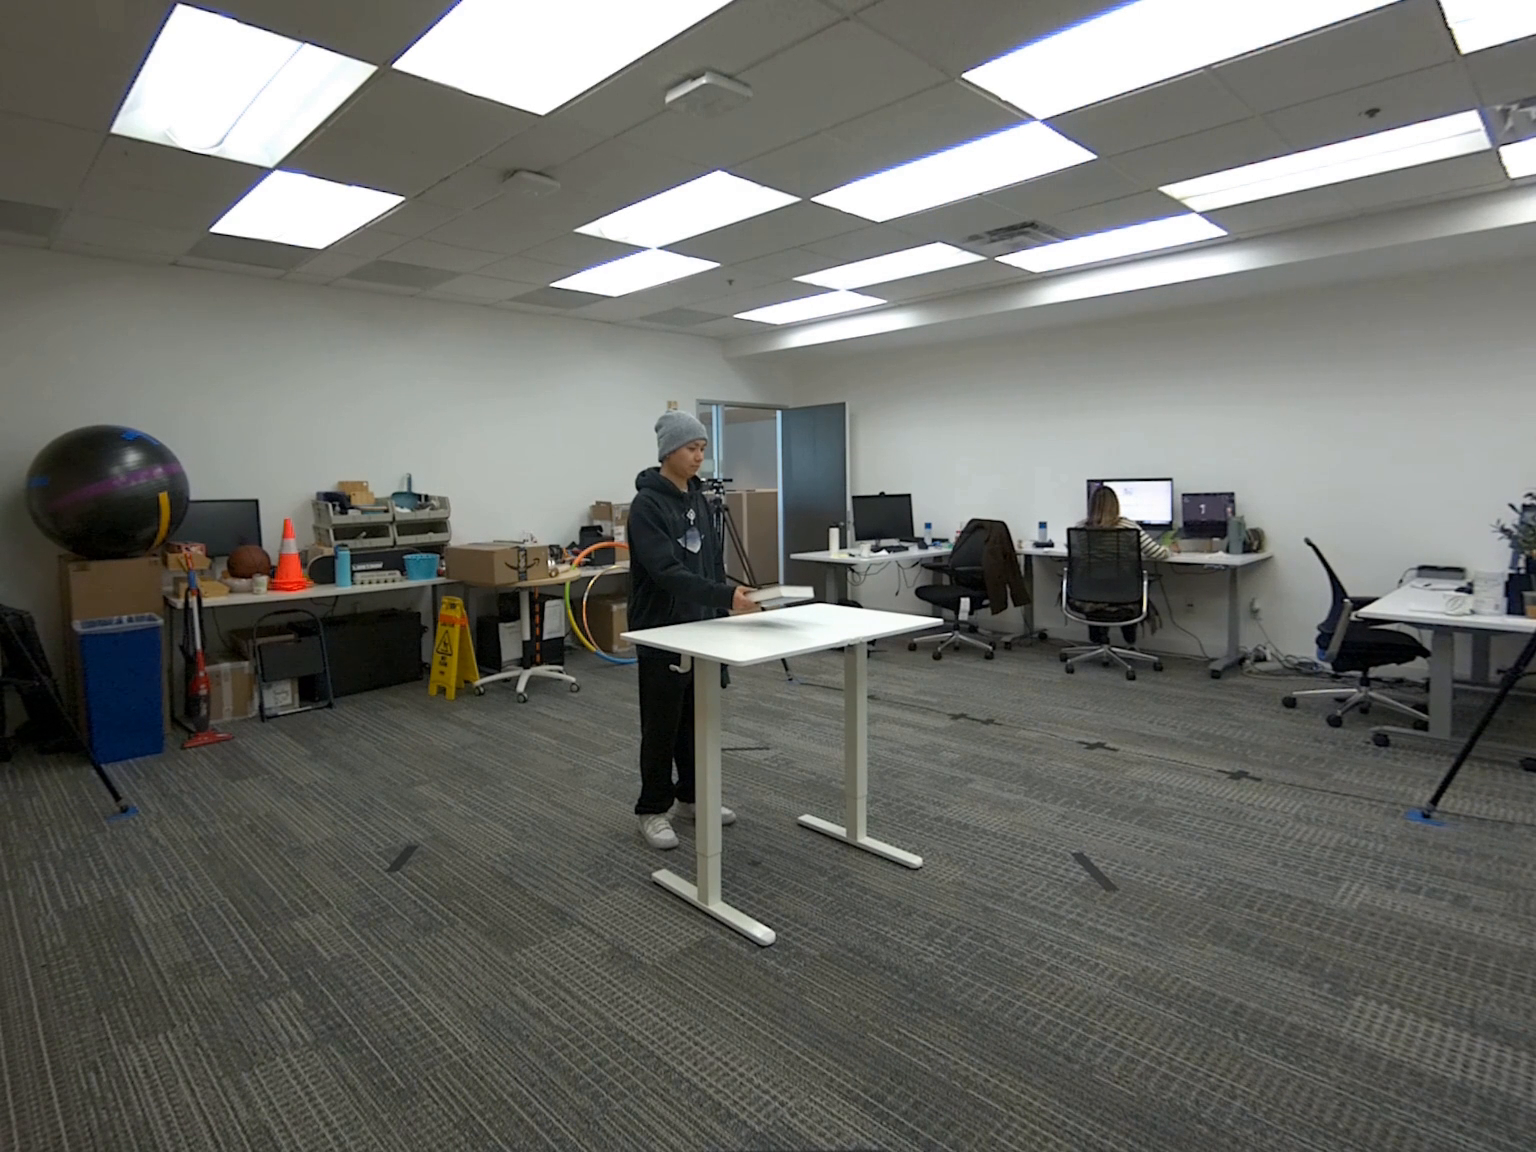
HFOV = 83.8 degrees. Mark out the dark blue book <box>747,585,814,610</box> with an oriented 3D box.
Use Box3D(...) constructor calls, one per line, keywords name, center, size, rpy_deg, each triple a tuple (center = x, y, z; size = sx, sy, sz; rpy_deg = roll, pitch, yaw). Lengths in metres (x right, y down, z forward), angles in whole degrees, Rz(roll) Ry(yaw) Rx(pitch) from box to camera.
Box3D(name="dark blue book", center=(0.026, 0.070, 2.998), size=(0.158, 0.045, 0.250), rpy_deg=(2, -10, -42))
